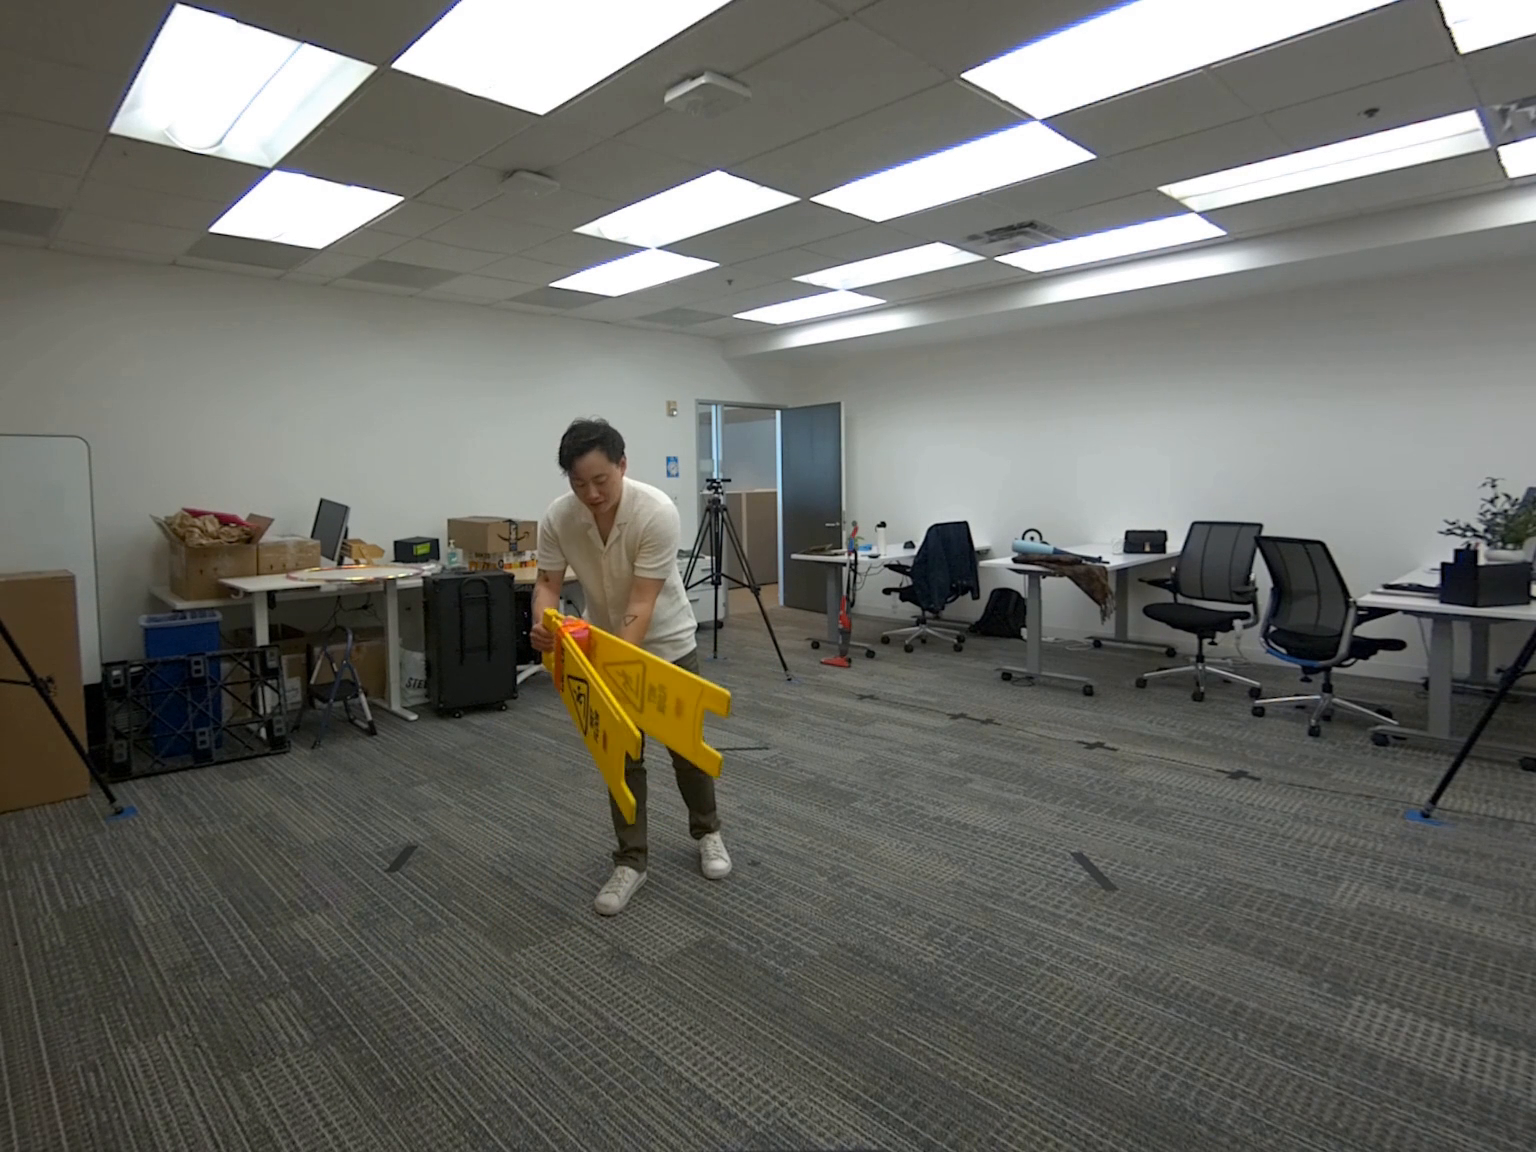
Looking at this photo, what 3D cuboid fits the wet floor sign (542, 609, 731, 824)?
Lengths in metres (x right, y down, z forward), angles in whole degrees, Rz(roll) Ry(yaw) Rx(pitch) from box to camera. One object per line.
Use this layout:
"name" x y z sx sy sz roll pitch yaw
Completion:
"wet floor sign" -0.438 0.322 2.312 0.284 0.277 0.671 -18 37 -40
